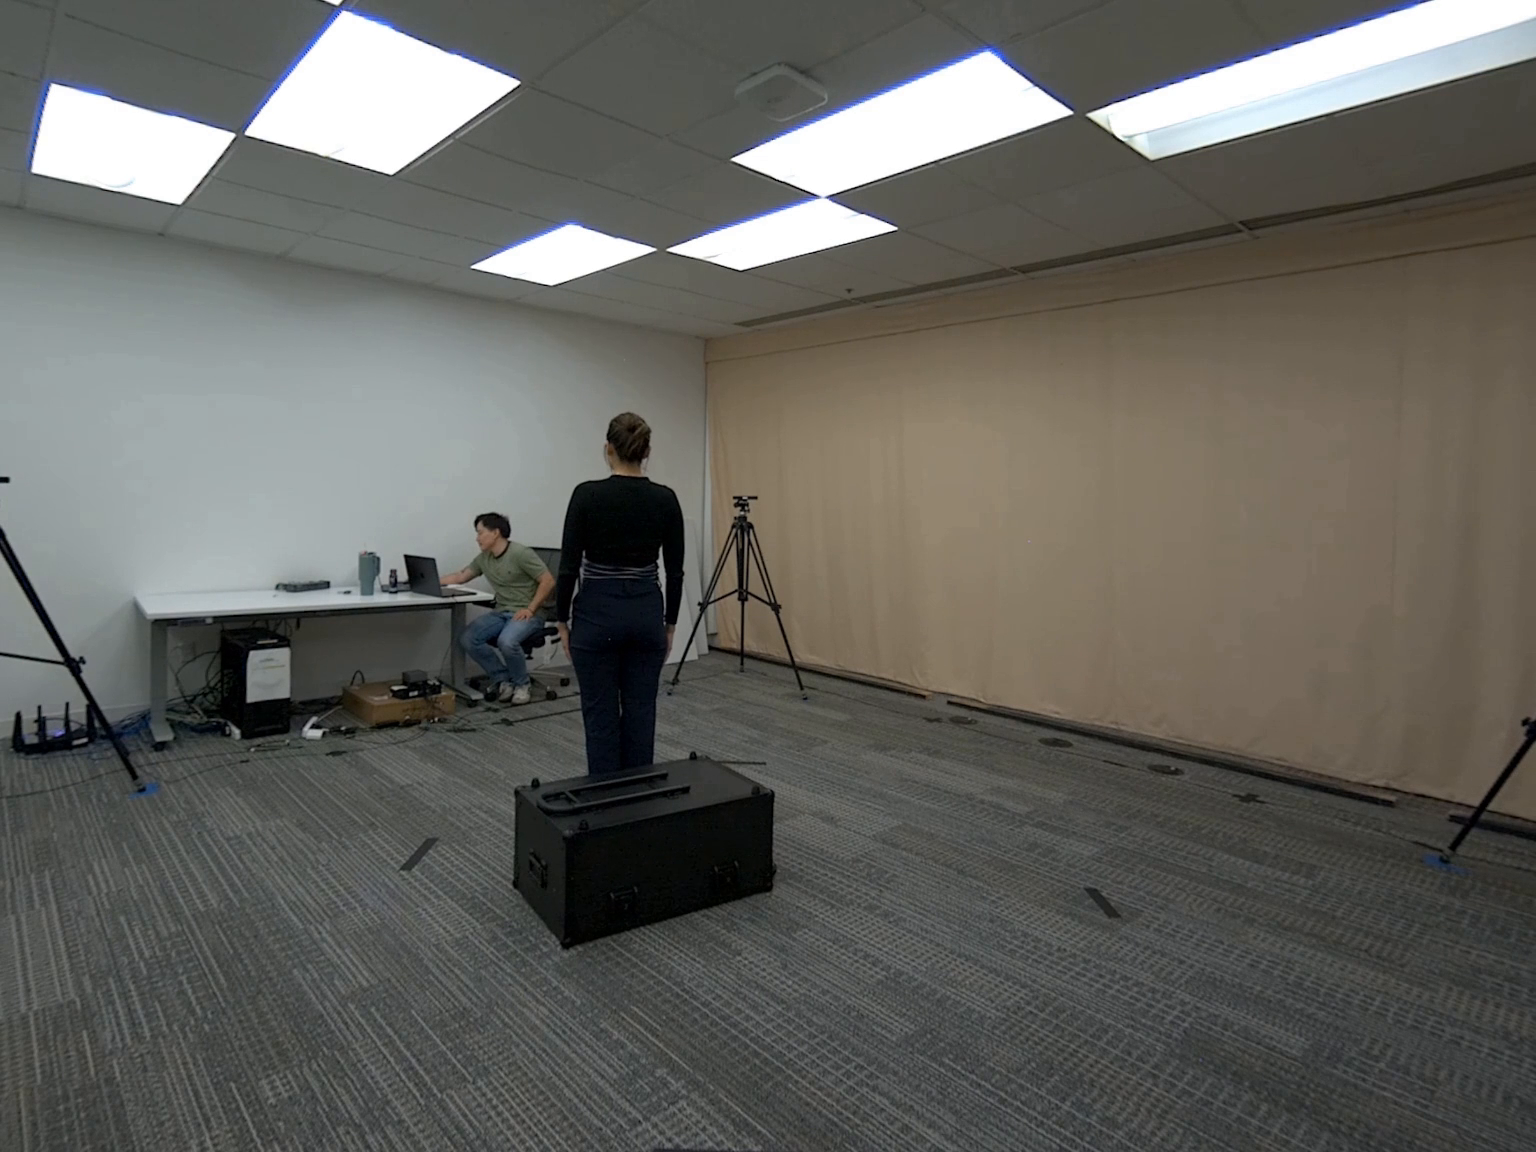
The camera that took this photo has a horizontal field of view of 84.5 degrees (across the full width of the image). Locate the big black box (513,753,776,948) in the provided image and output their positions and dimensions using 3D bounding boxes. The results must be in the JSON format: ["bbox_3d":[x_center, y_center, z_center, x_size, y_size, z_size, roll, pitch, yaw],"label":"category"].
[{"bbox_3d":[-0.465,0.936,2.950,0.843,0.395,0.534,-2,5,-34],"label":"big black box"}]
